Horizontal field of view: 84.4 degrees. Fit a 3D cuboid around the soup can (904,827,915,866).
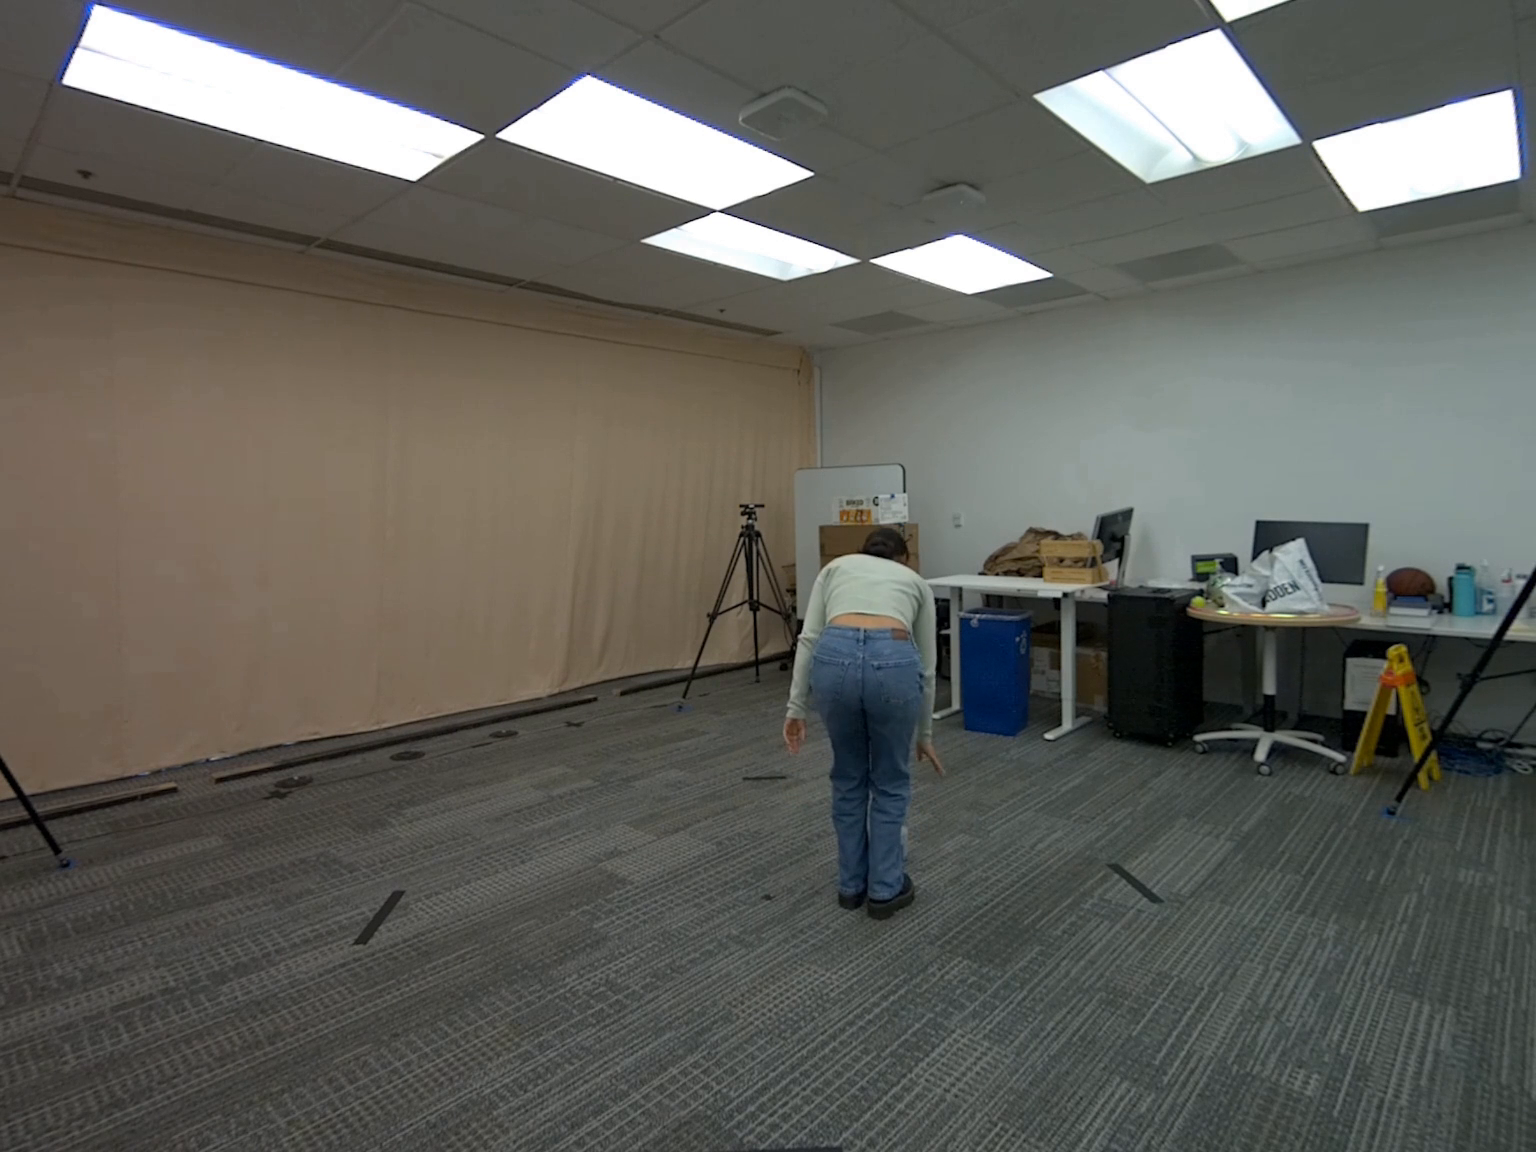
[{"bbox_3d":[0.524,1.045,3.281,0.067,0.121,0.067,1,0,-2],"label":"soup can"}]
